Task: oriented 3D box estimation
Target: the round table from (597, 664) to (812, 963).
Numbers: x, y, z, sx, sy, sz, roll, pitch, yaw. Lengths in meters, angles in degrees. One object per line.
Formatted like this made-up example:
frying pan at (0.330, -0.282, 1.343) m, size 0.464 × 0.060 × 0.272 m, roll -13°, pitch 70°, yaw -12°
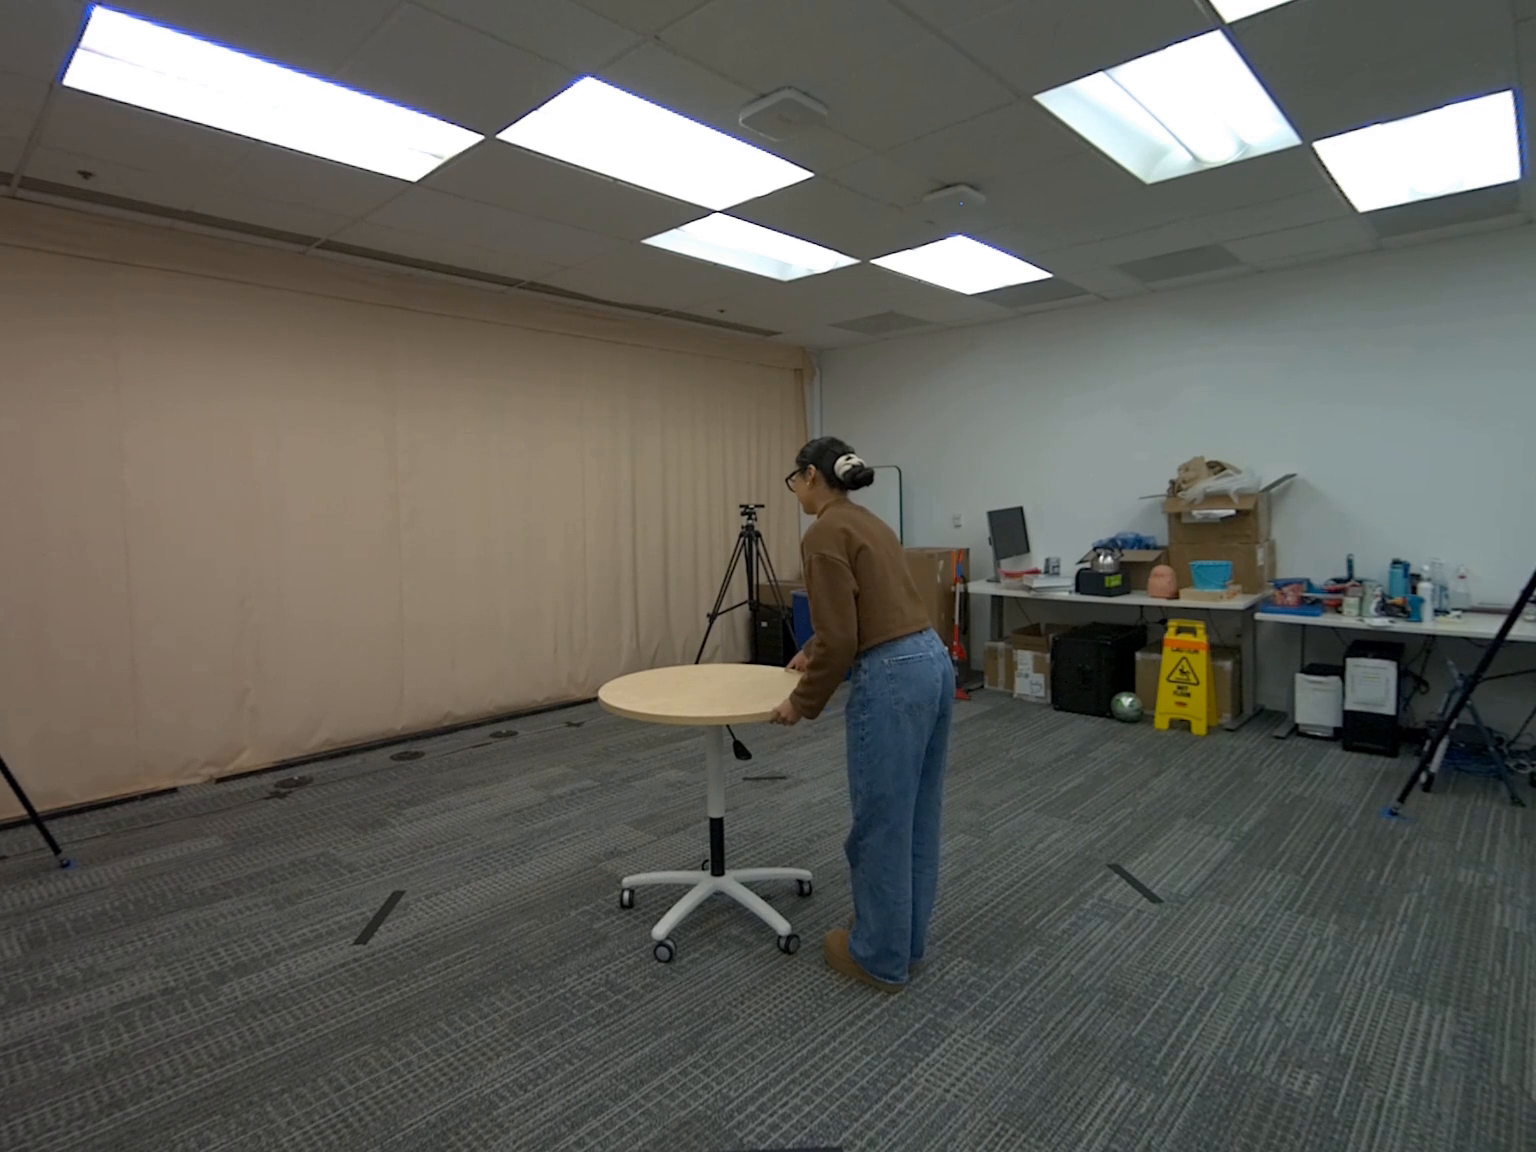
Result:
round table at (-0.177, 0.766, 2.856) m, size 0.763 × 0.792 × 0.767 m, roll -1°, pitch 4°, yaw -2°
